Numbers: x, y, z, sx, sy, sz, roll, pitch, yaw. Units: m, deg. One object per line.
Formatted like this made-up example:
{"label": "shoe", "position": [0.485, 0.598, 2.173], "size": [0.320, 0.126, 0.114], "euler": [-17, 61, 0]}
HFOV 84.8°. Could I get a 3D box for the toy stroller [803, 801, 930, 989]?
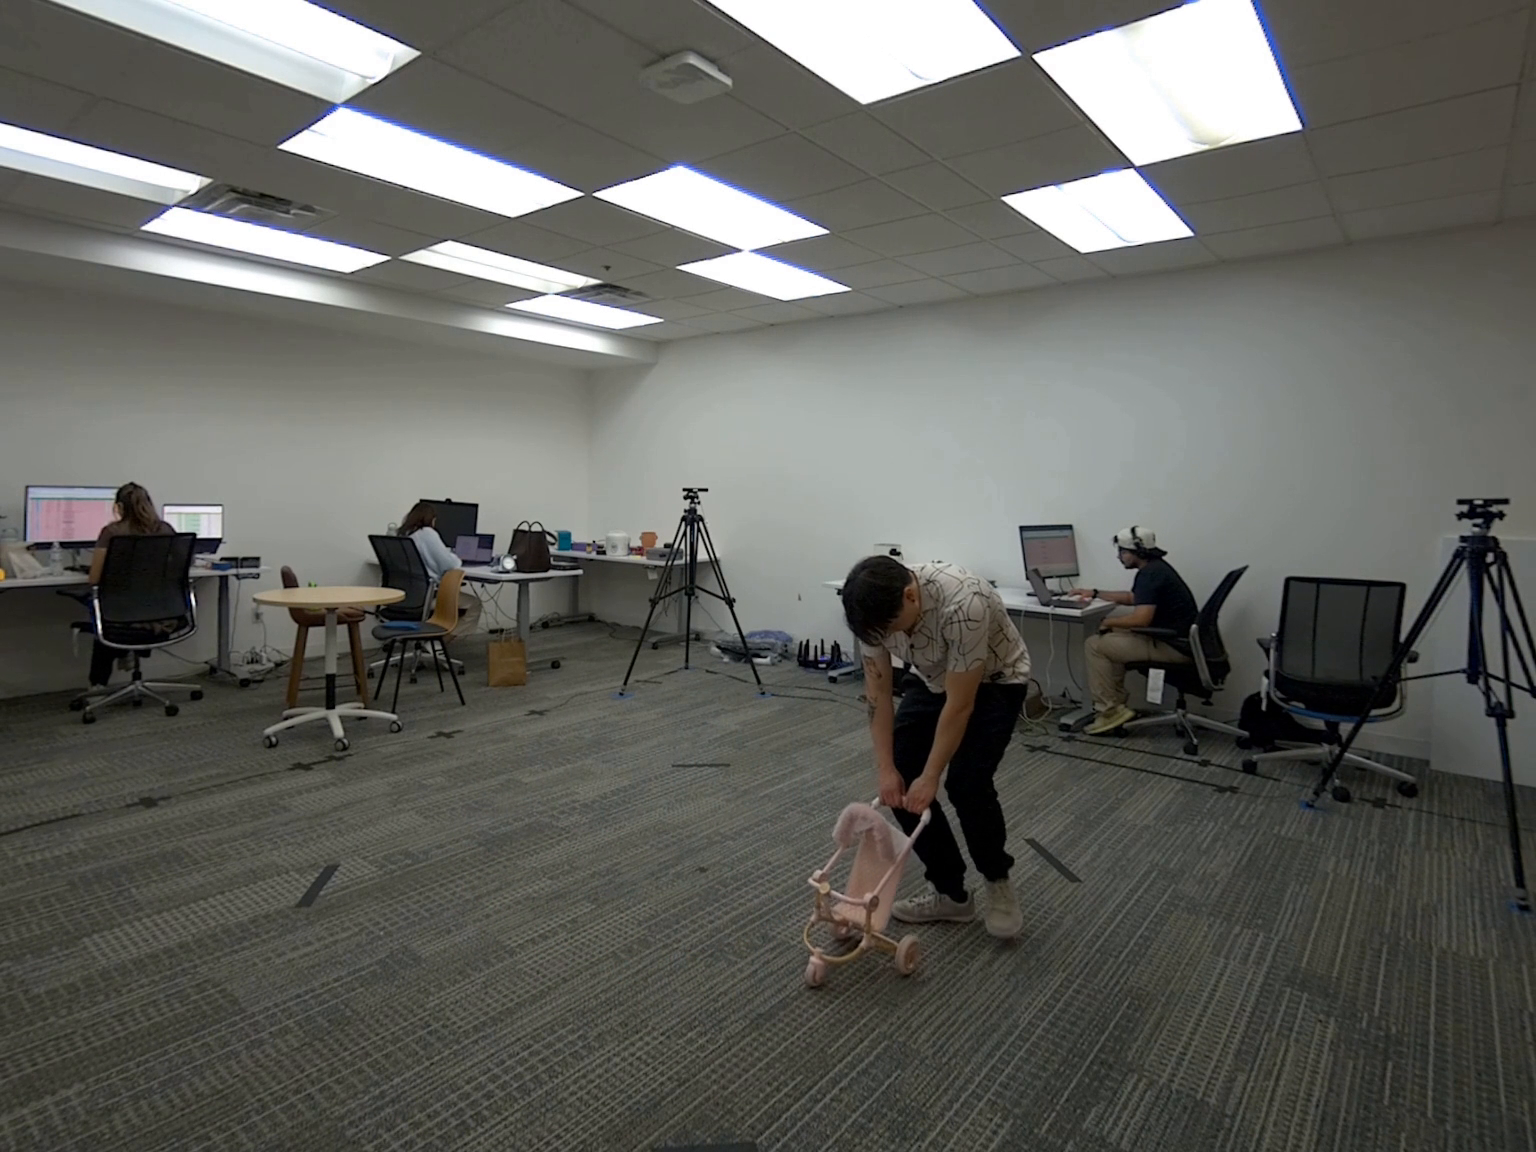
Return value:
{"label": "toy stroller", "position": [0.267, 0.916, 2.504], "size": [0.328, 0.537, 0.291], "euler": [18, -8, -39]}
